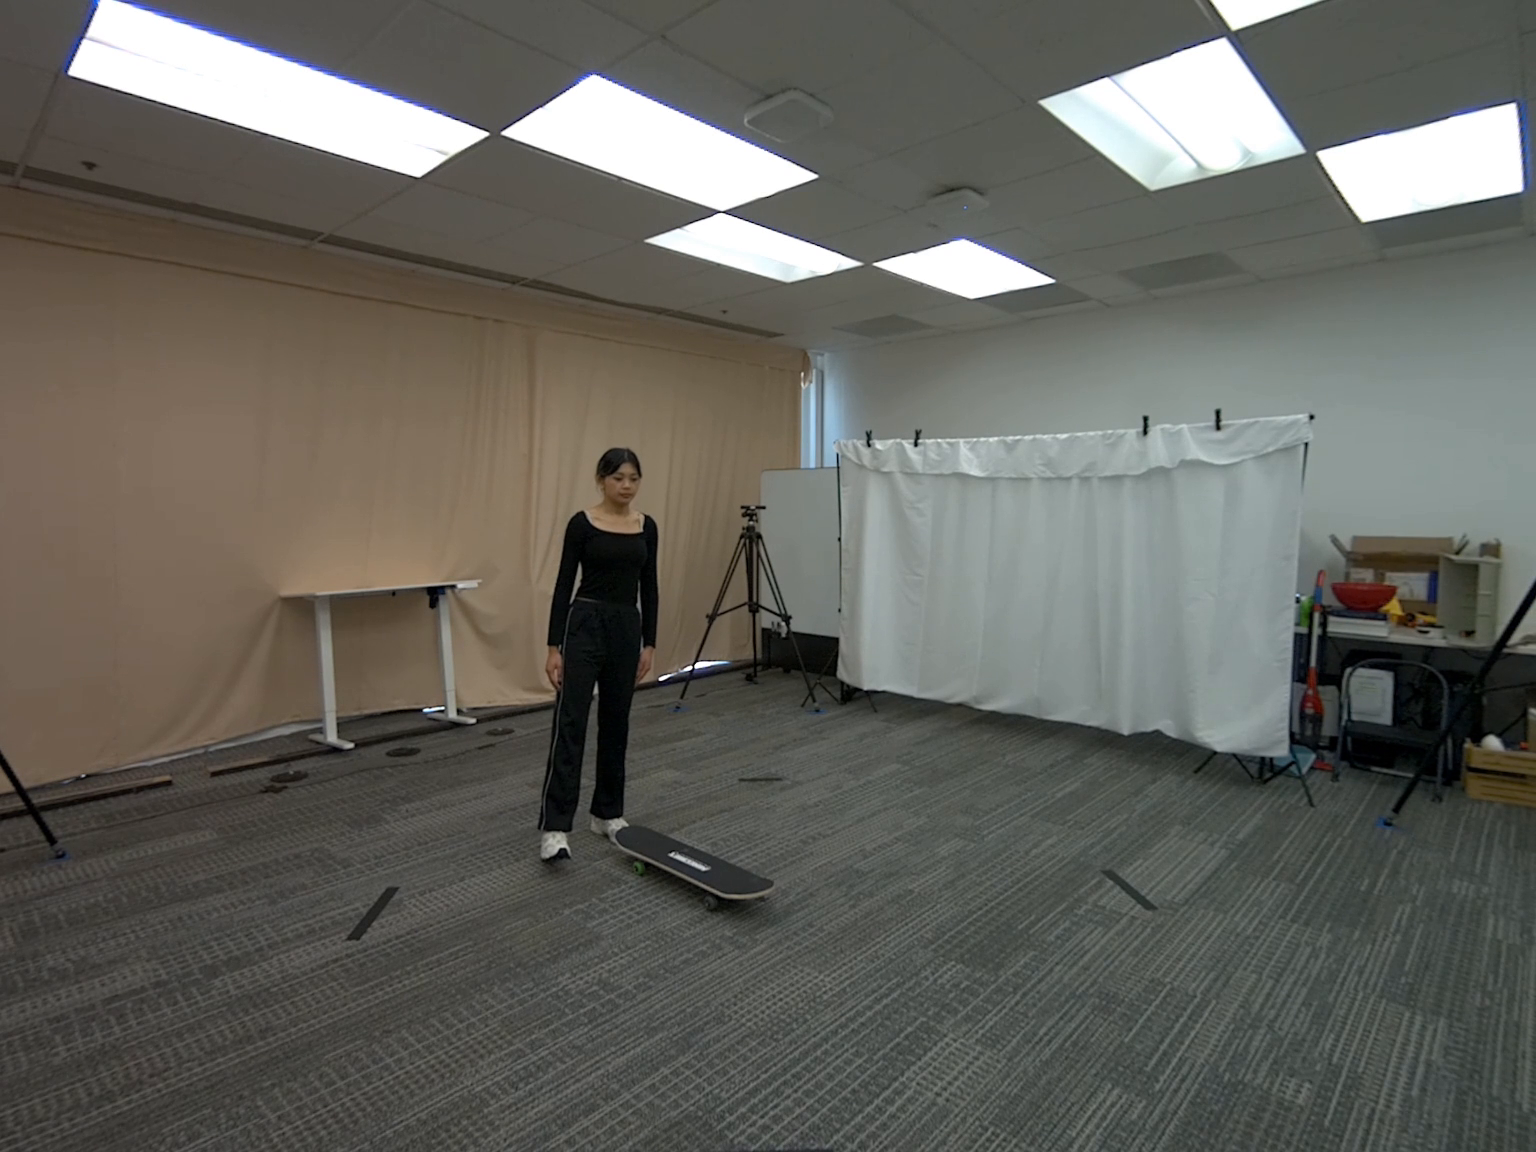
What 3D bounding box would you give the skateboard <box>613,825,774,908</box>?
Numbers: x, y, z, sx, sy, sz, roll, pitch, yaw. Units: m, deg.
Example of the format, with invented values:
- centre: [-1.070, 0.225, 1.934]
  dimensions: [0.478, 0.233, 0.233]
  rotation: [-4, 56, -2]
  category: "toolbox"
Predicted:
- centre: [-0.288, 1.082, 3.096]
  dimensions: [0.812, 0.110, 0.187]
  rotation: [4, 6, 44]
  category: "skateboard"
